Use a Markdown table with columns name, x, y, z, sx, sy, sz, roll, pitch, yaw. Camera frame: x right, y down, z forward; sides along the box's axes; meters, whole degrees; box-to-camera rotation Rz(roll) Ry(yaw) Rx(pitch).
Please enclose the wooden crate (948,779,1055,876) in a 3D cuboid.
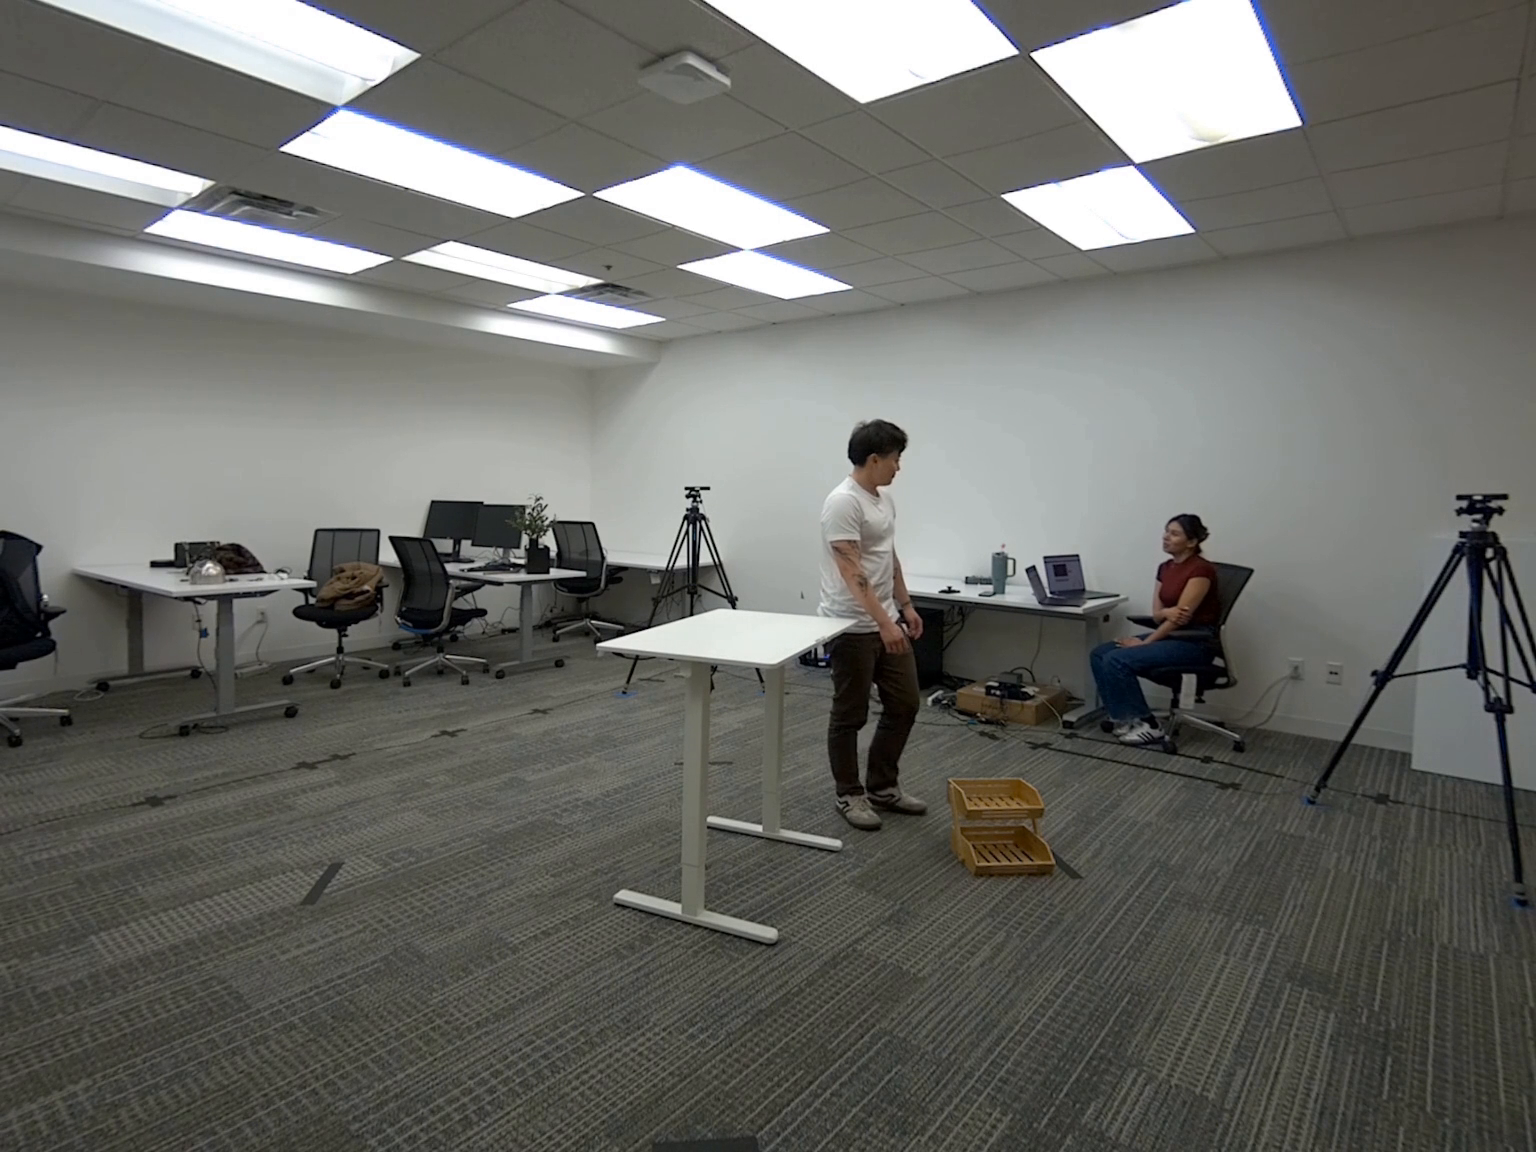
| name | x | y | z | sx | sy | sz | roll | pitch | yaw |
| --- | --- | --- | --- | --- | --- | --- | --- | --- | --- |
| wooden crate | 0.890 | 0.944 | 3.226 | 0.321 | 0.272 | 0.306 | -1 | 4 | -10 |
